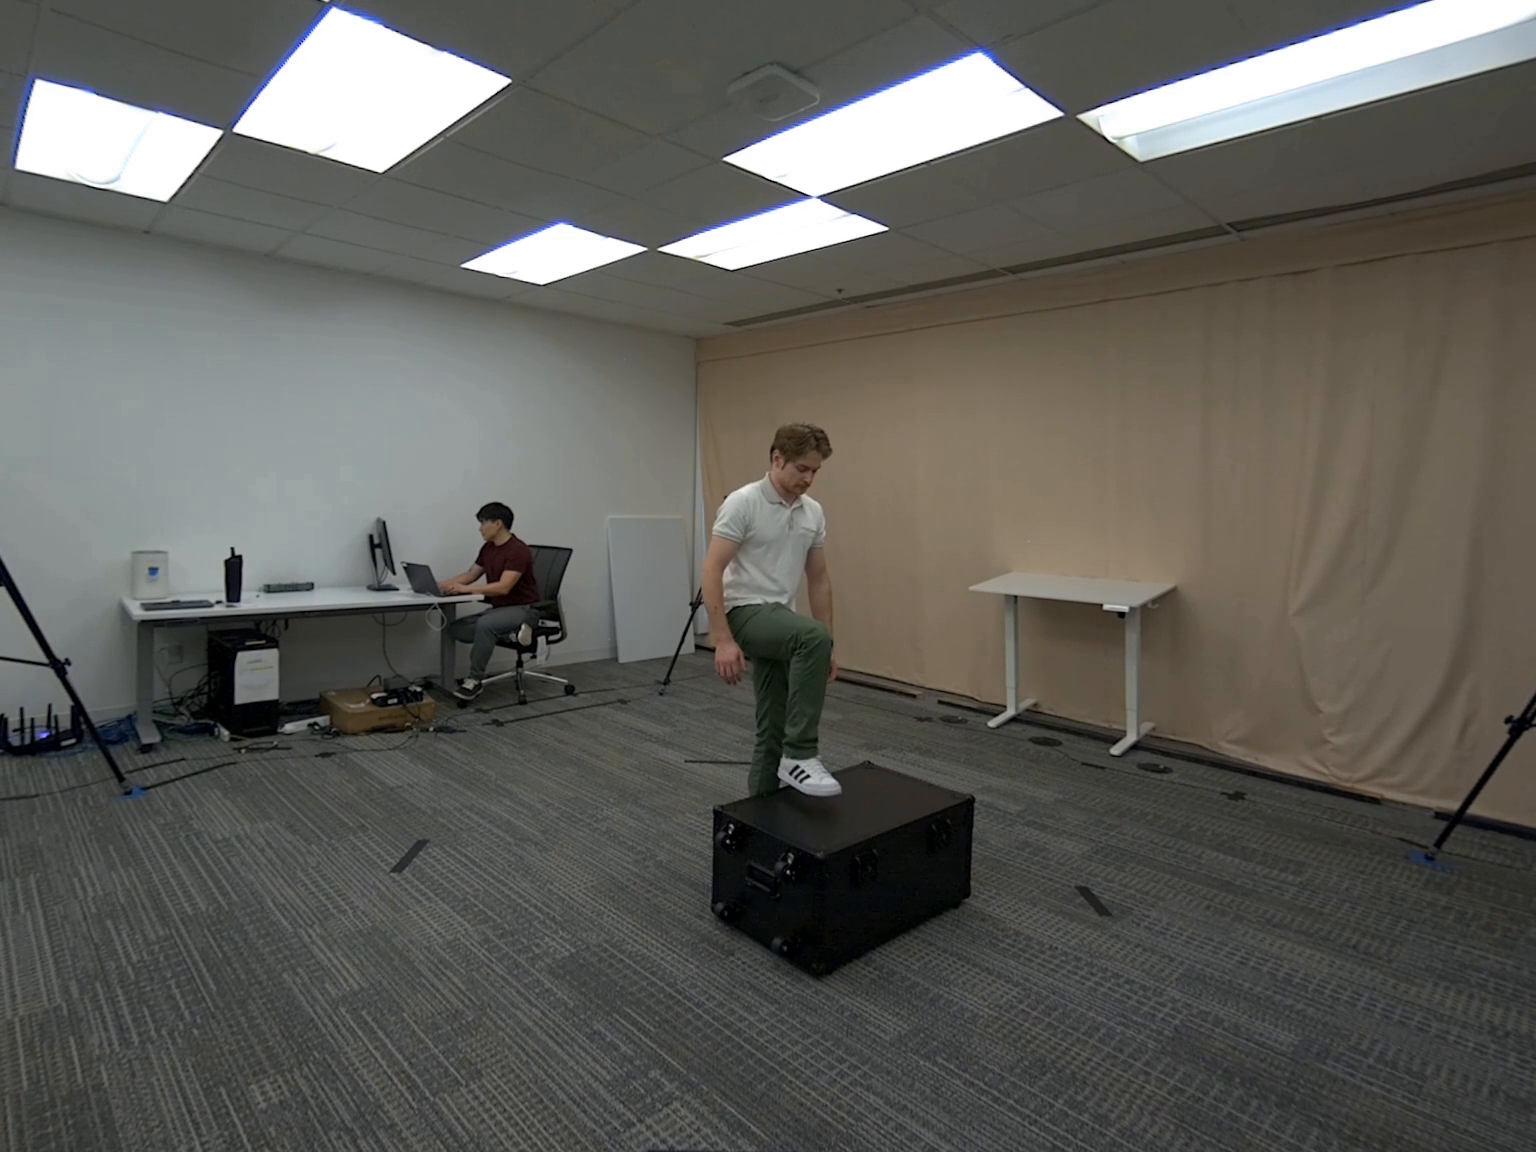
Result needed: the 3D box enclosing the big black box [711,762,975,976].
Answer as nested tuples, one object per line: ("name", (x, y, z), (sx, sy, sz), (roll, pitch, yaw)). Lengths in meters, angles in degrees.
("big black box", (0.232, 0.948, 2.823), (0.841, 0.395, 0.535), (-2, 6, -43))
